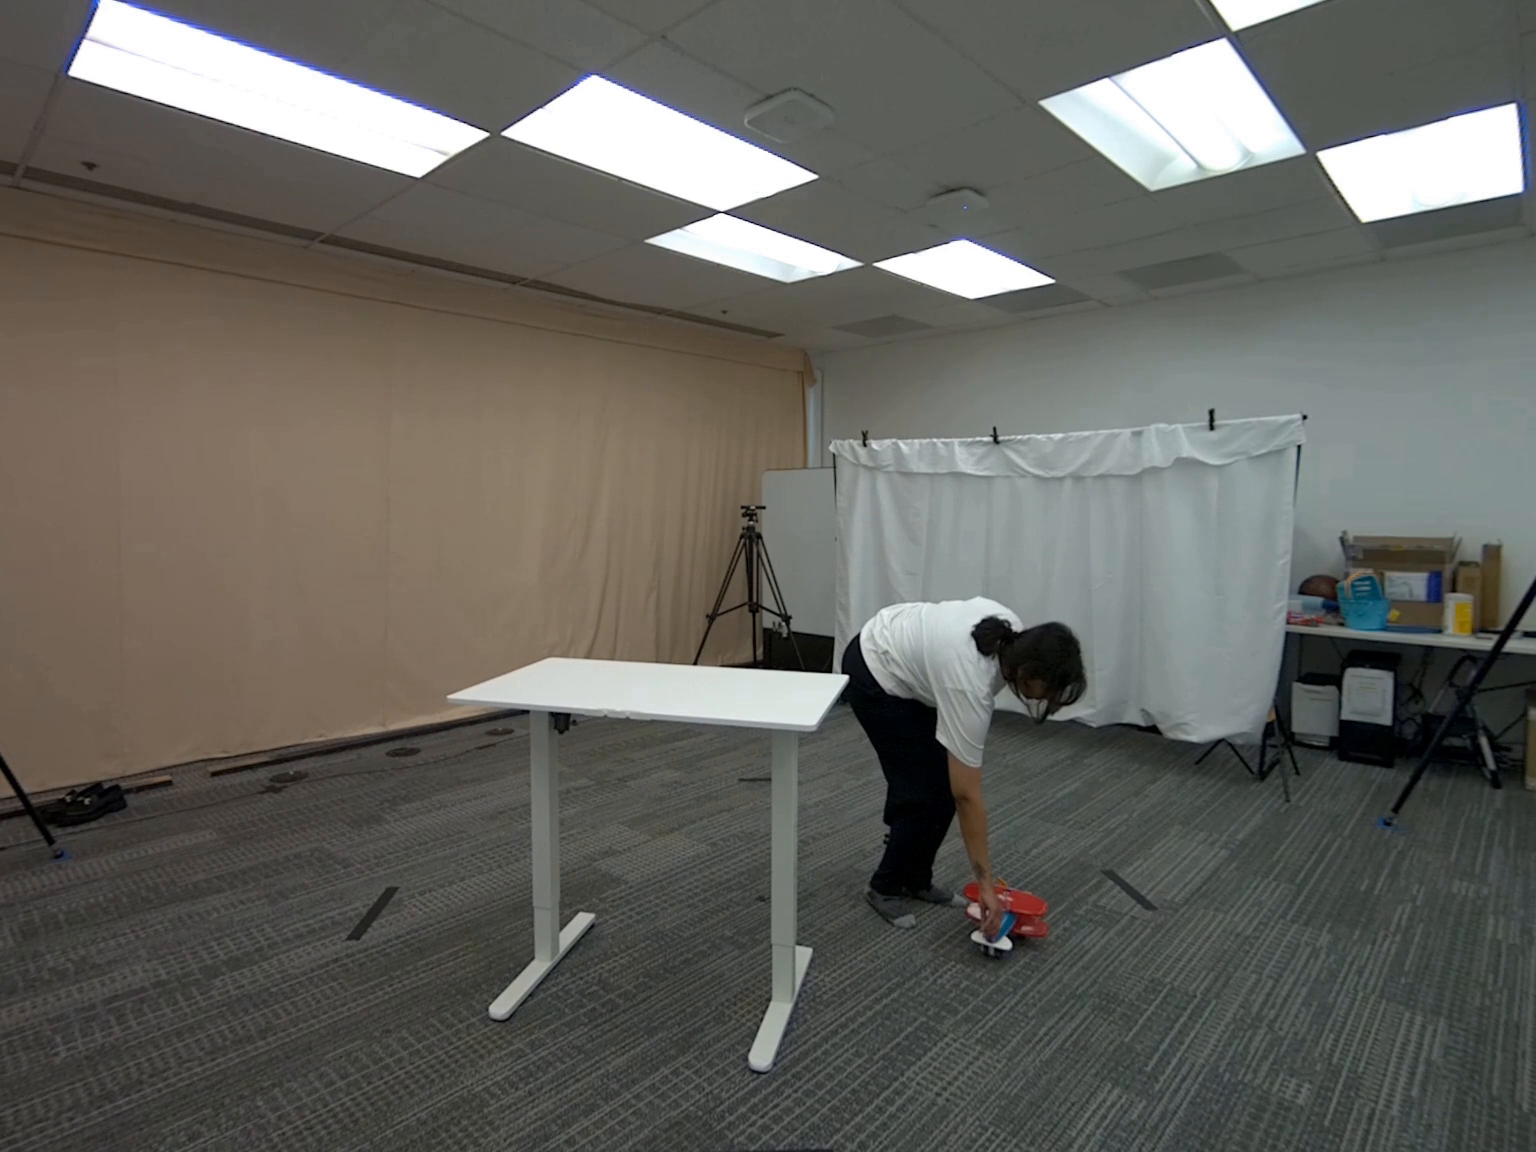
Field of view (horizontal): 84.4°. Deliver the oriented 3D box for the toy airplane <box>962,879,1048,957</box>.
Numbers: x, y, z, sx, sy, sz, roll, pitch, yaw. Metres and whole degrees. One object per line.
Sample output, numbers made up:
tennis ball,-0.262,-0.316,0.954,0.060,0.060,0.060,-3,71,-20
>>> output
toy airplane,0.766,1.093,2.658,0.253,0.156,0.258,2,5,5
